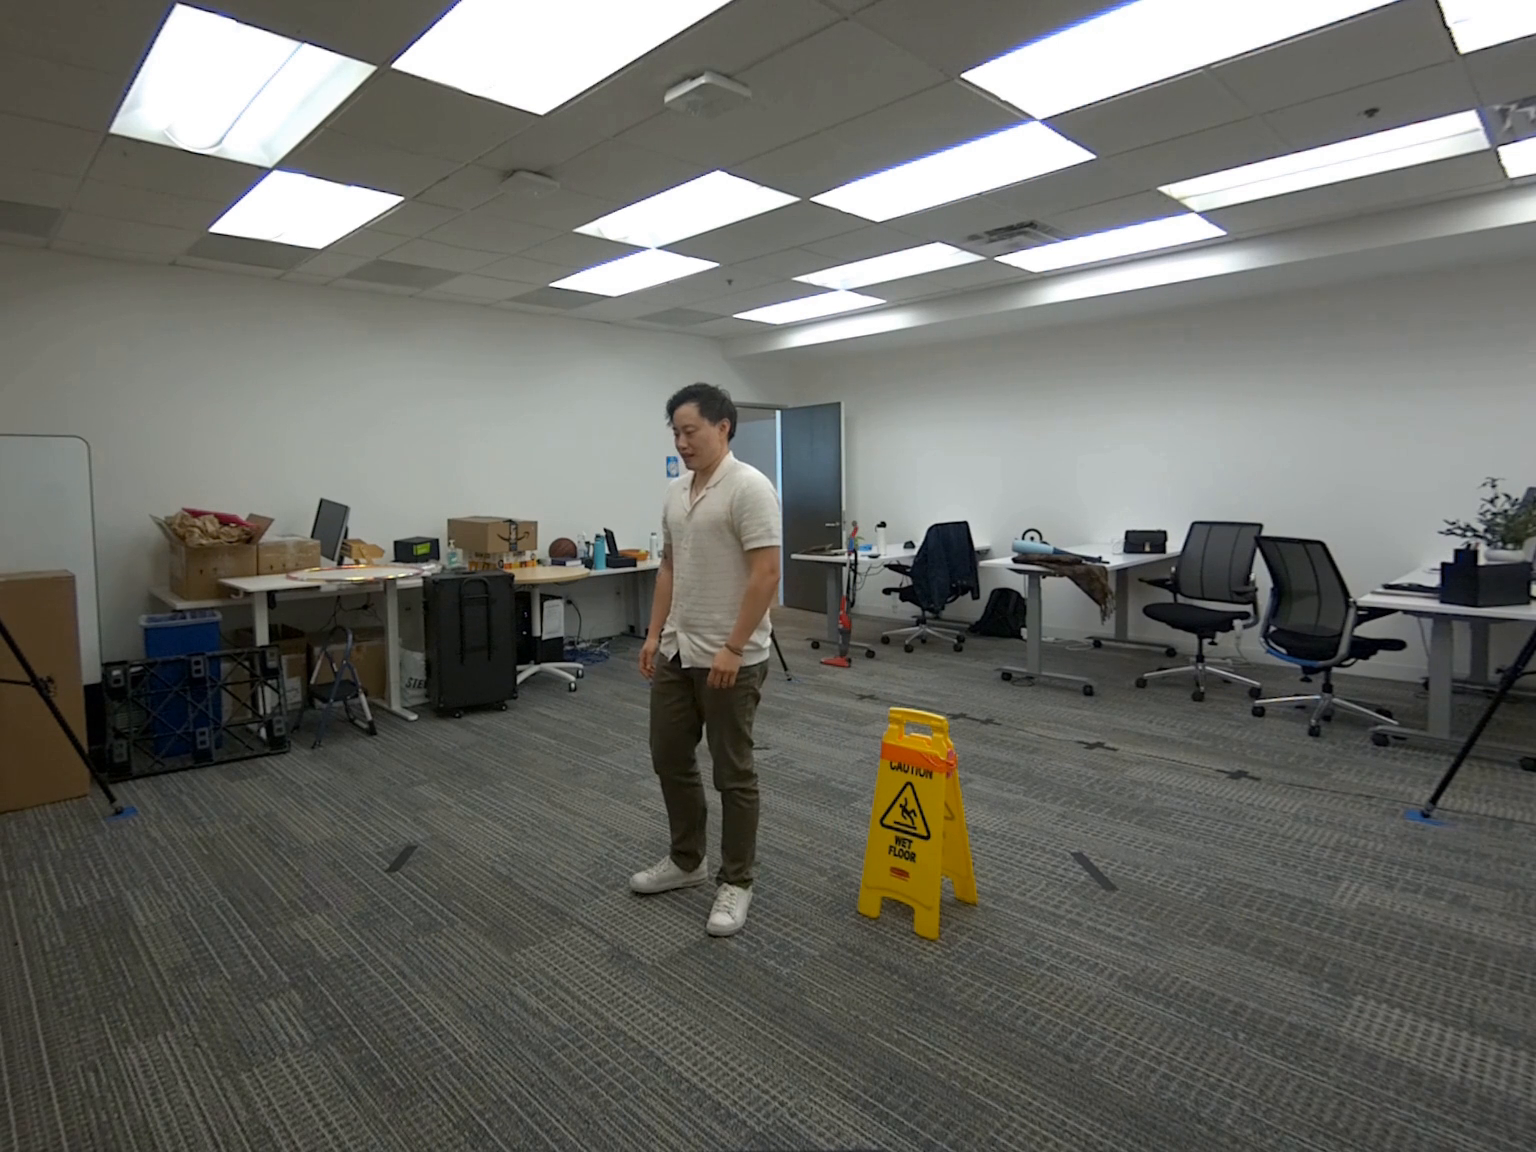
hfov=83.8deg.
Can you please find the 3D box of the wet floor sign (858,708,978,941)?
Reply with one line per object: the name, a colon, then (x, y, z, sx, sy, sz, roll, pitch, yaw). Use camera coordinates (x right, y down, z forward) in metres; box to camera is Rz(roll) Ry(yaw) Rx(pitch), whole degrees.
wet floor sign: (0.479, 0.750, 2.739, 0.290, 0.644, 0.282, 2, 5, 39)
